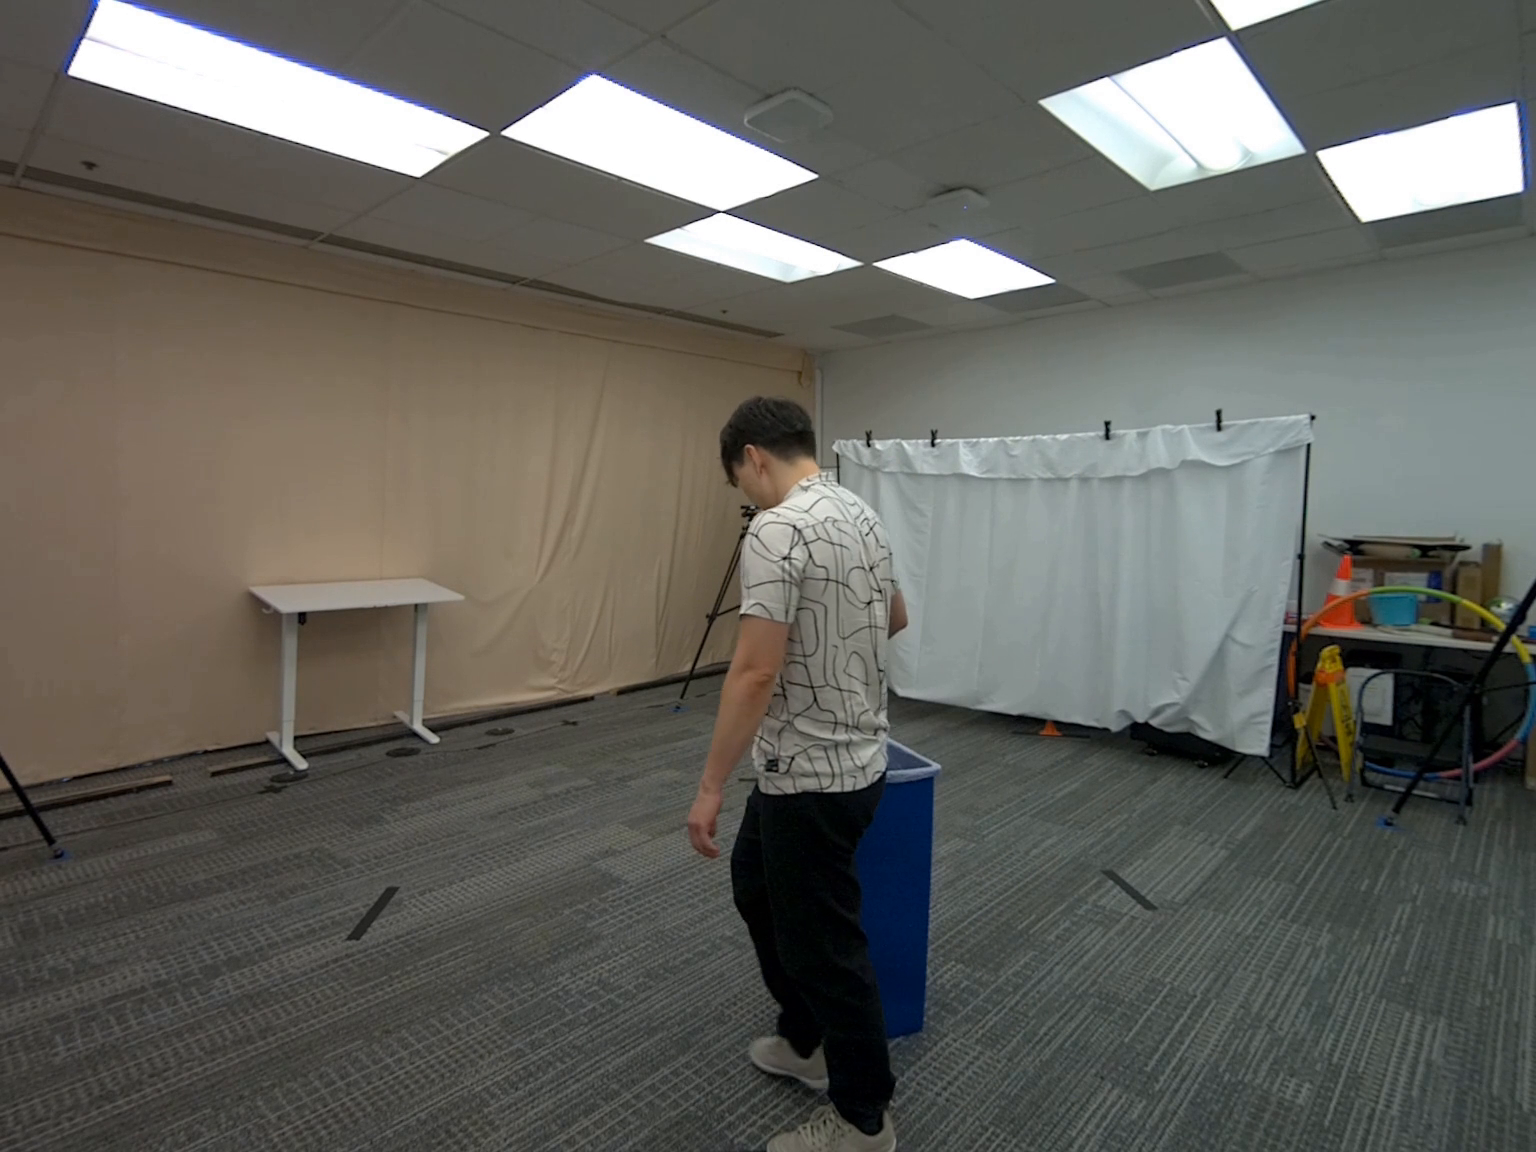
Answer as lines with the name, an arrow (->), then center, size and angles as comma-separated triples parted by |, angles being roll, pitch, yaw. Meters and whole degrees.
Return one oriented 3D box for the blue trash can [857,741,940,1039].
blue trash can -> 0.227, 0.842, 2.313 | 0.371, 0.712, 0.382 | -1, 3, -19
